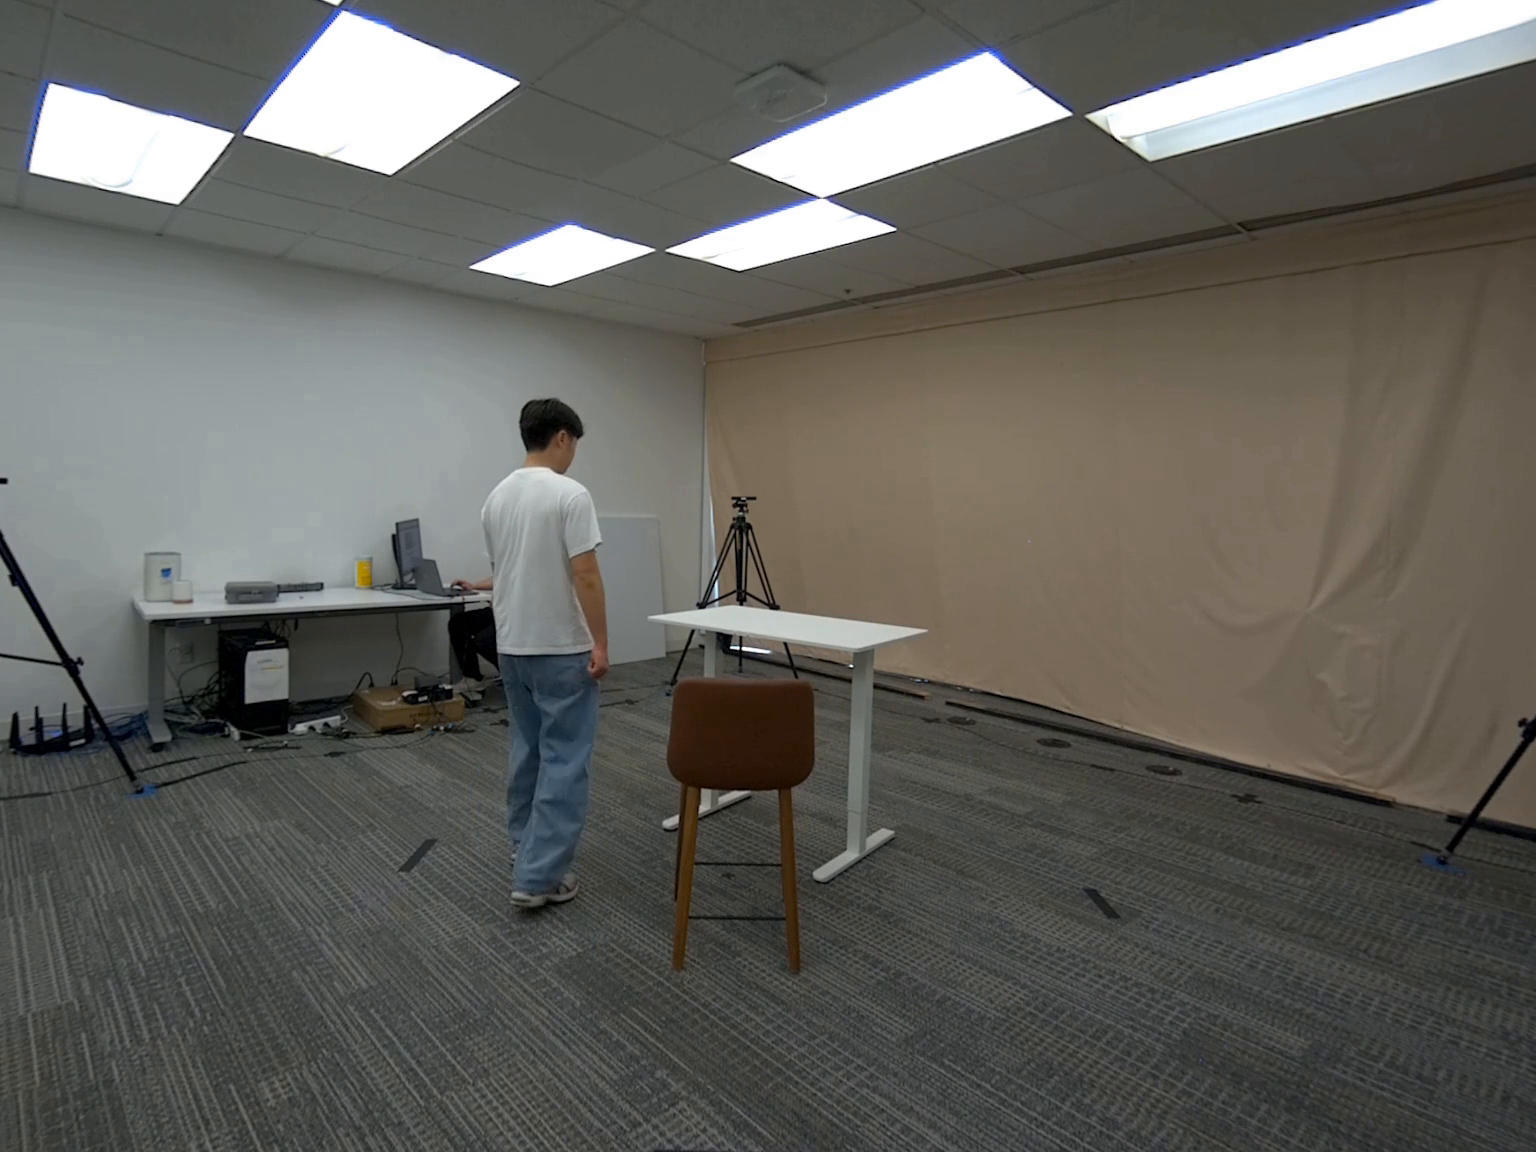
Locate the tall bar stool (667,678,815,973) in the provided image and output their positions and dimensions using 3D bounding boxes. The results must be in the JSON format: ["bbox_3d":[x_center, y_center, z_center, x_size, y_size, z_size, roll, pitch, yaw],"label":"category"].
[{"bbox_3d":[-0.105,0.714,2.661,0.455,0.886,0.471,1,5,-4],"label":"tall bar stool"}]
